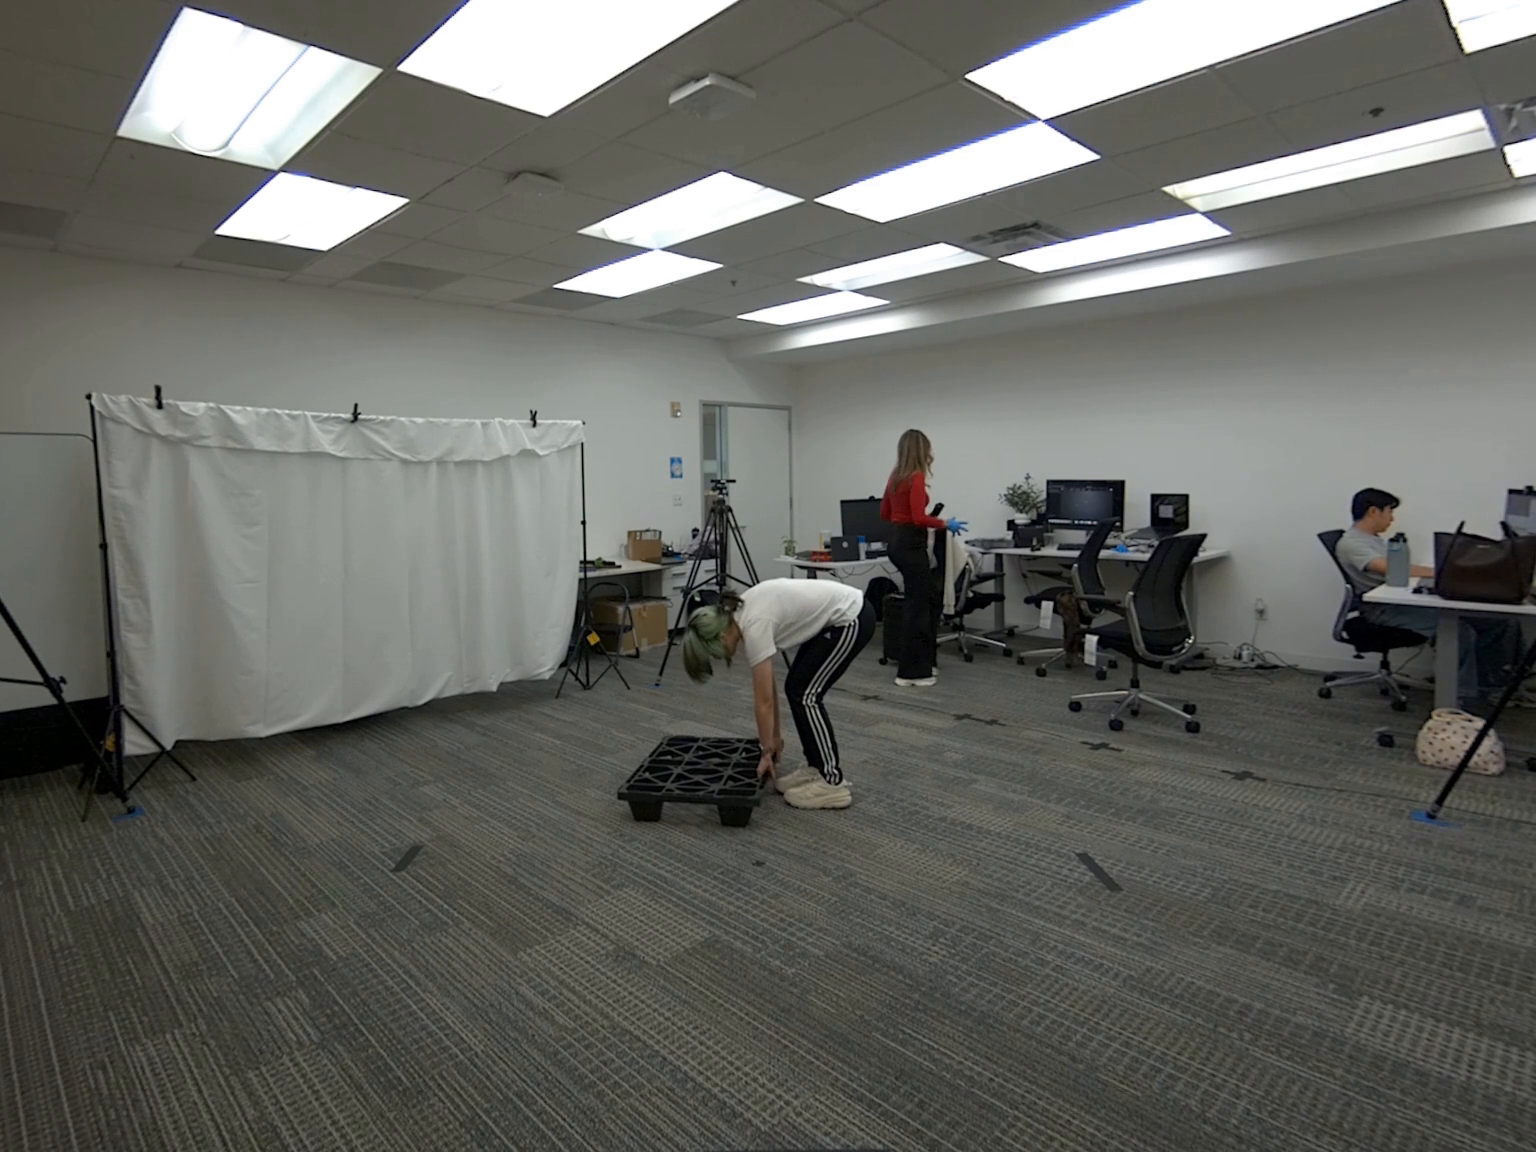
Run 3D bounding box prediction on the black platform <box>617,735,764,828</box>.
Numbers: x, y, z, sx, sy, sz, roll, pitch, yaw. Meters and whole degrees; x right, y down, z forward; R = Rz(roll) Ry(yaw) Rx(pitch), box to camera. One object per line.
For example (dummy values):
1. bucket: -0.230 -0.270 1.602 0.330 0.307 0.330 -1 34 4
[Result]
1. black platform: -0.278 0.903 3.831 0.611 0.143 0.801 -1 6 9
